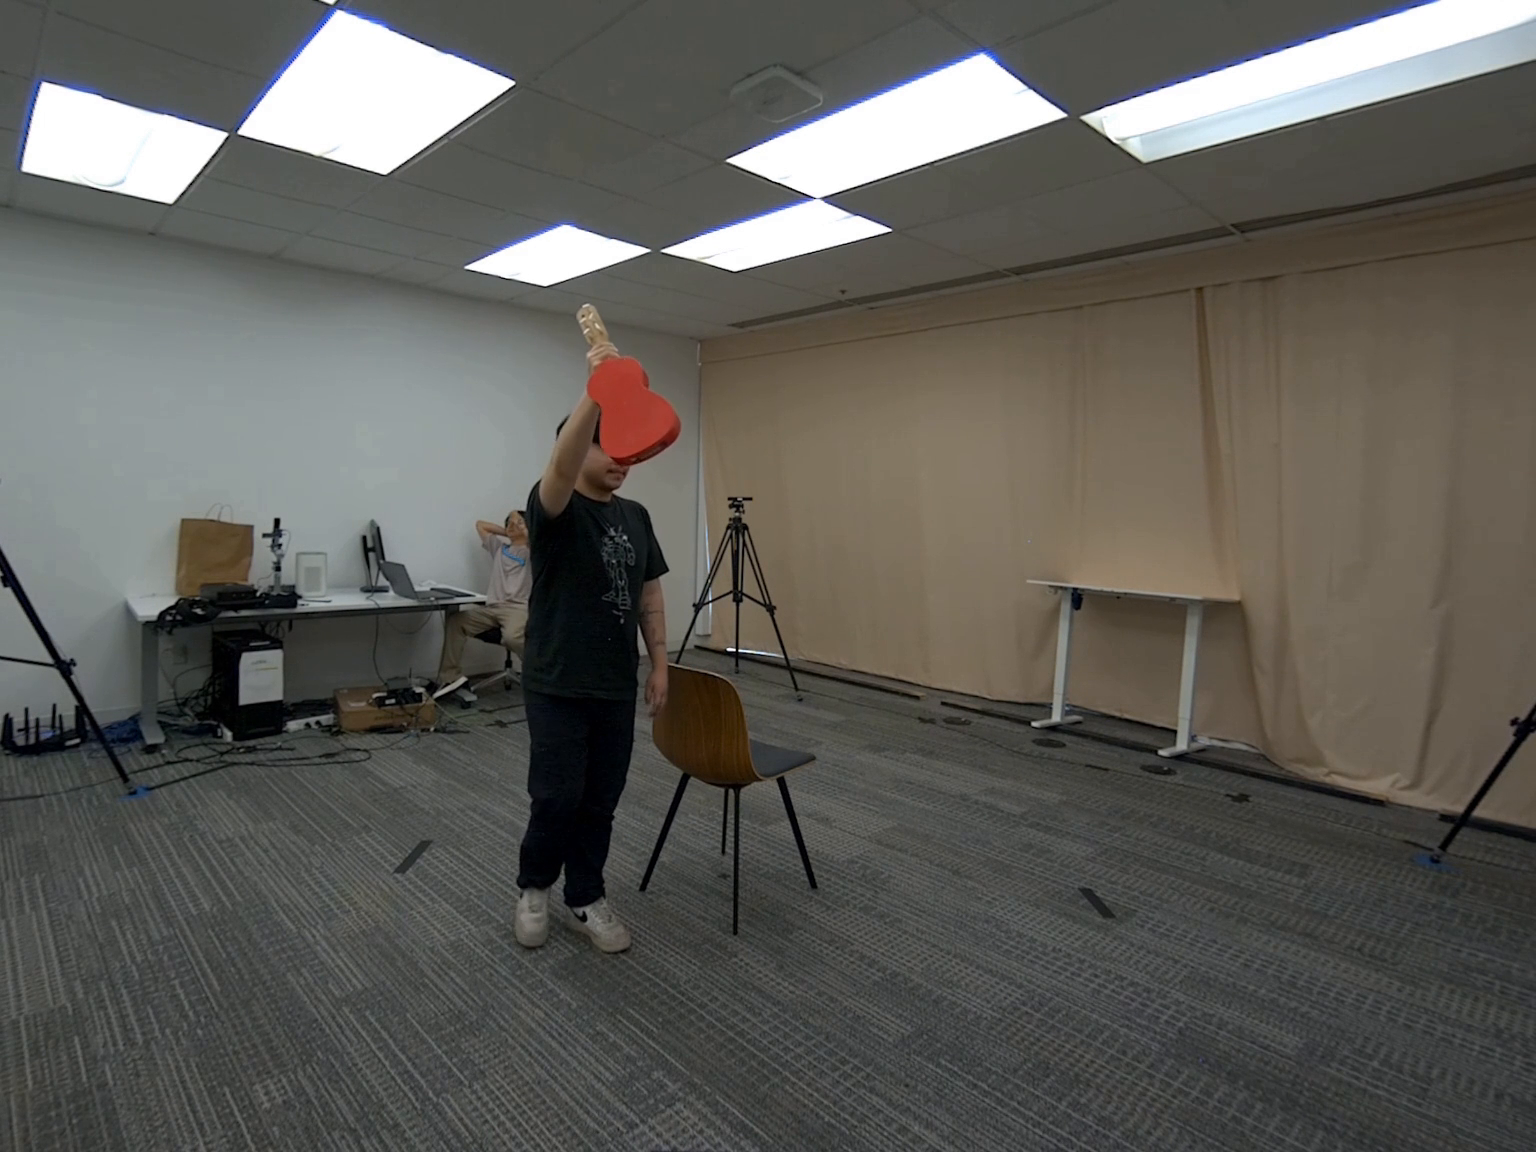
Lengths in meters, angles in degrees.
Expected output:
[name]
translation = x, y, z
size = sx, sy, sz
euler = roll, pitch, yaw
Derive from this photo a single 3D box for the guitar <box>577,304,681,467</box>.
[guitar]
translation = -0.410, -0.484, 2.115
size = 0.193, 0.509, 0.069
euler = -36, -23, 3
